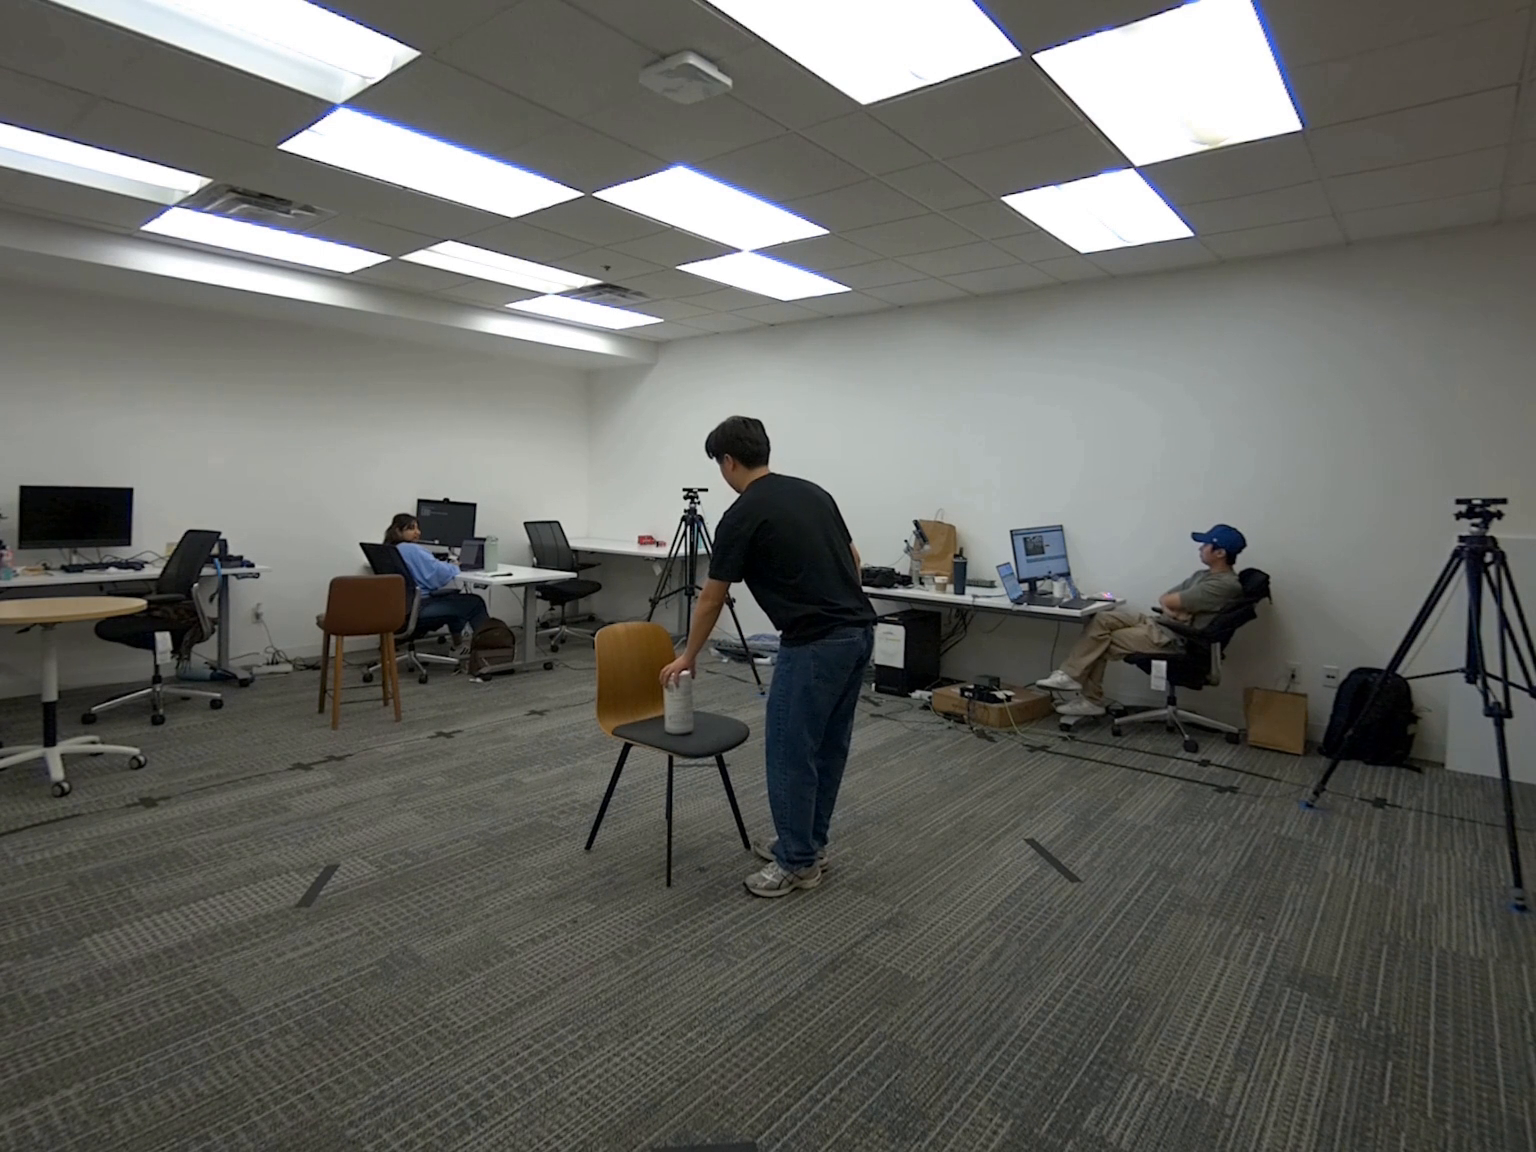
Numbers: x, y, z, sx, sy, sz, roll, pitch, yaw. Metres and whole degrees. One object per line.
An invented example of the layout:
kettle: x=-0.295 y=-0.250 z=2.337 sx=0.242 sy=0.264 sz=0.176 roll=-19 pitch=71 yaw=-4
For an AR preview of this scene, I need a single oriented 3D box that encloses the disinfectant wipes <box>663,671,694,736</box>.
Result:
disinfectant wipes: x=-0.345 y=0.466 z=3.180 sx=0.118 sy=0.216 sz=0.118 roll=-2 pitch=5 yaw=-2
